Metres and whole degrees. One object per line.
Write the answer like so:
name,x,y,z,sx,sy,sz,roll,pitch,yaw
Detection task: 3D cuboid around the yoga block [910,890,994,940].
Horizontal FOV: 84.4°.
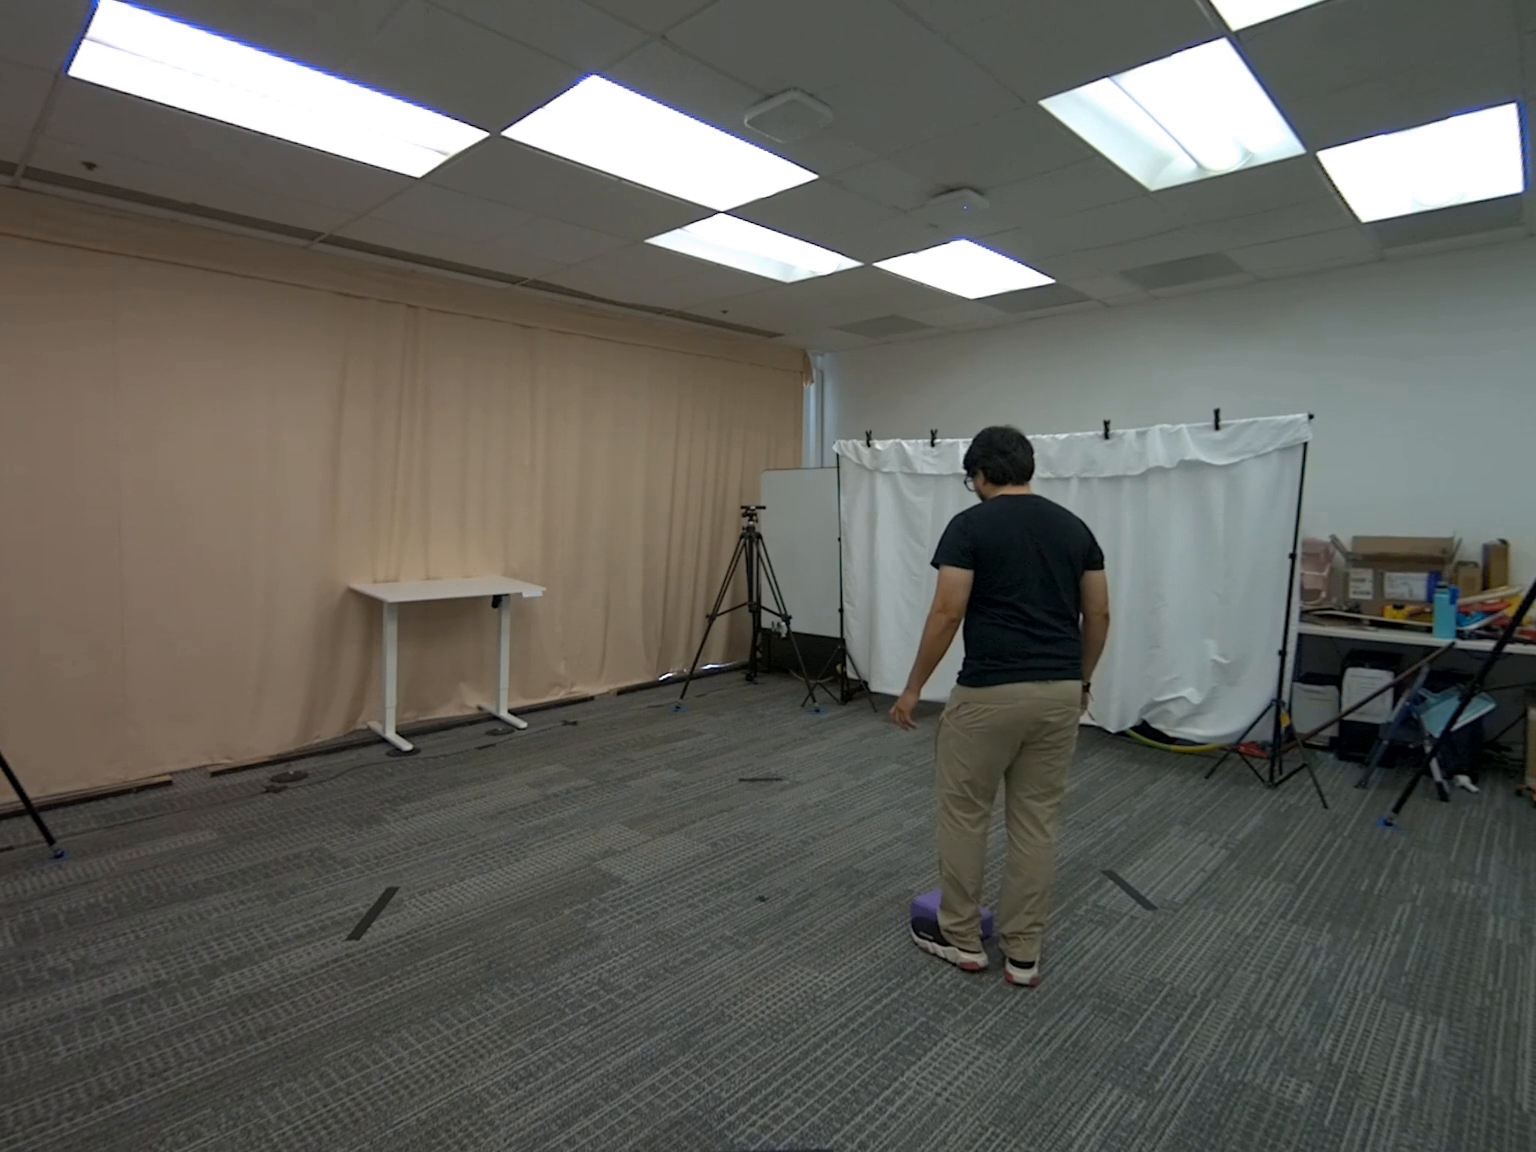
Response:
yoga block,0.606,1.118,2.763,0.144,0.076,0.237,-4,7,-40
